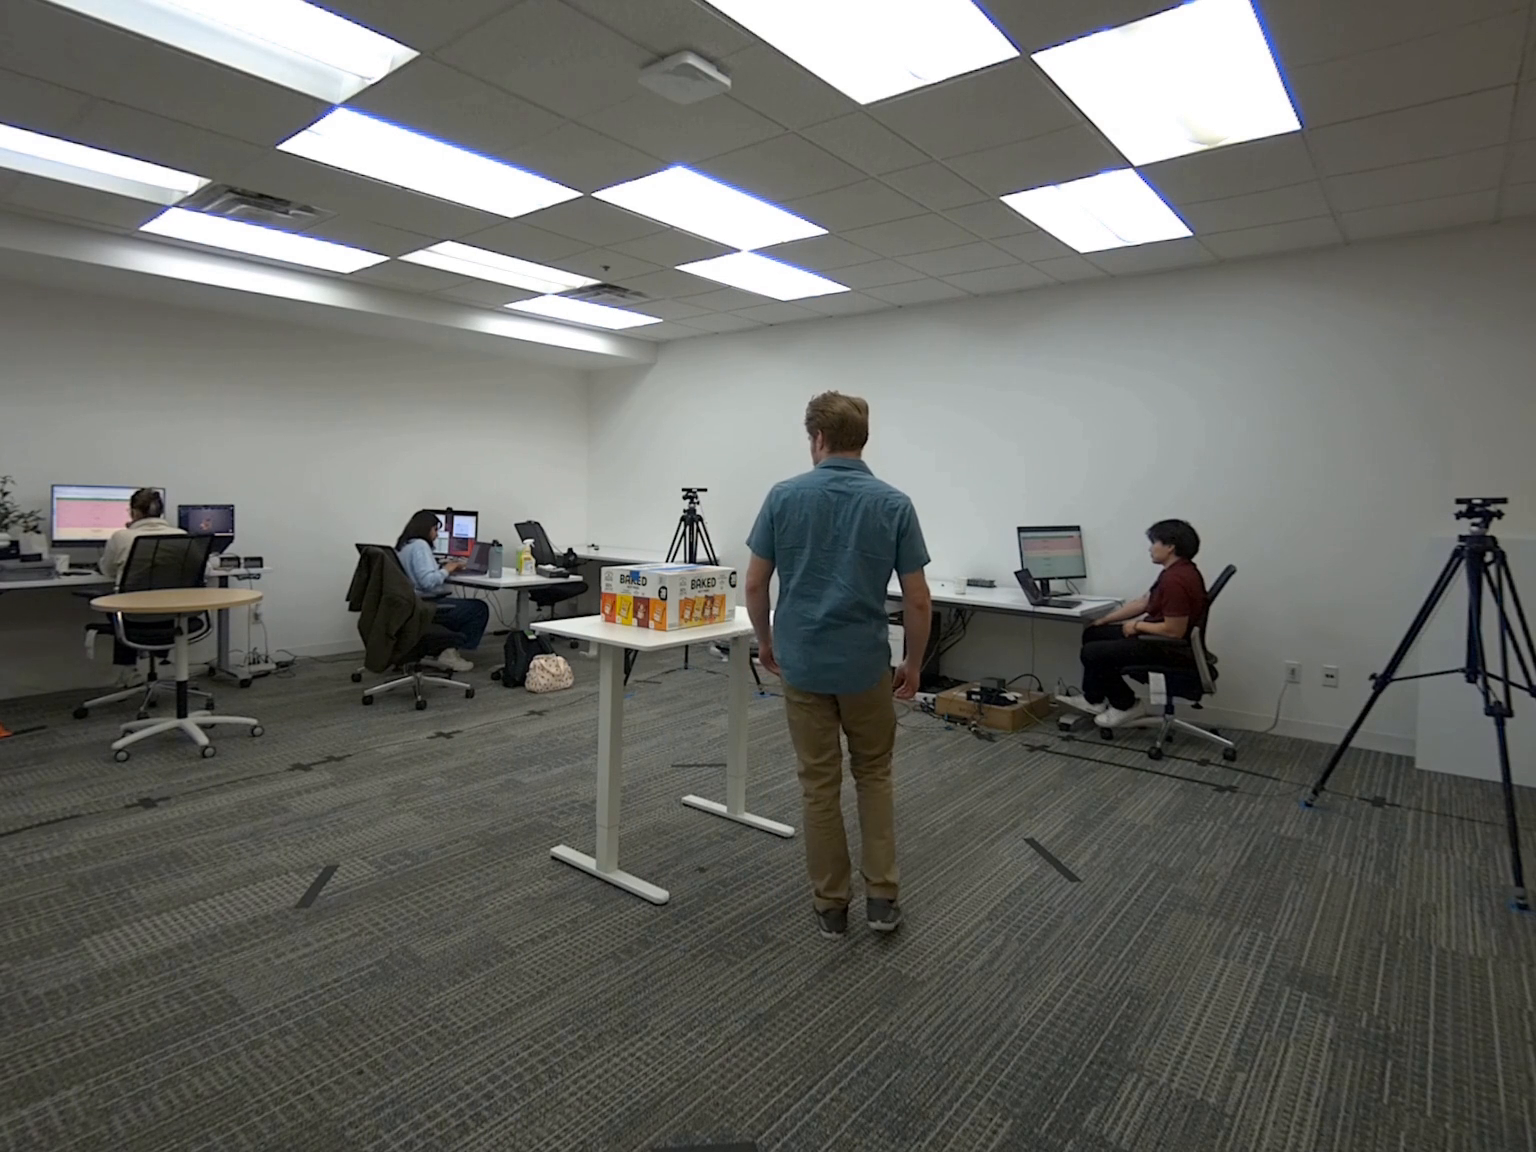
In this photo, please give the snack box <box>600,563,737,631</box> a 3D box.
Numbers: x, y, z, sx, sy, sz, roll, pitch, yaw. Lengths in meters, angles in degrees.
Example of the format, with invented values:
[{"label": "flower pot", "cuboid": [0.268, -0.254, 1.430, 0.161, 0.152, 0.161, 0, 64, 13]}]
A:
[{"label": "snack box", "cuboid": [-0.388, 0.067, 3.255, 0.351, 0.205, 0.393, 5, 6, 36]}]
